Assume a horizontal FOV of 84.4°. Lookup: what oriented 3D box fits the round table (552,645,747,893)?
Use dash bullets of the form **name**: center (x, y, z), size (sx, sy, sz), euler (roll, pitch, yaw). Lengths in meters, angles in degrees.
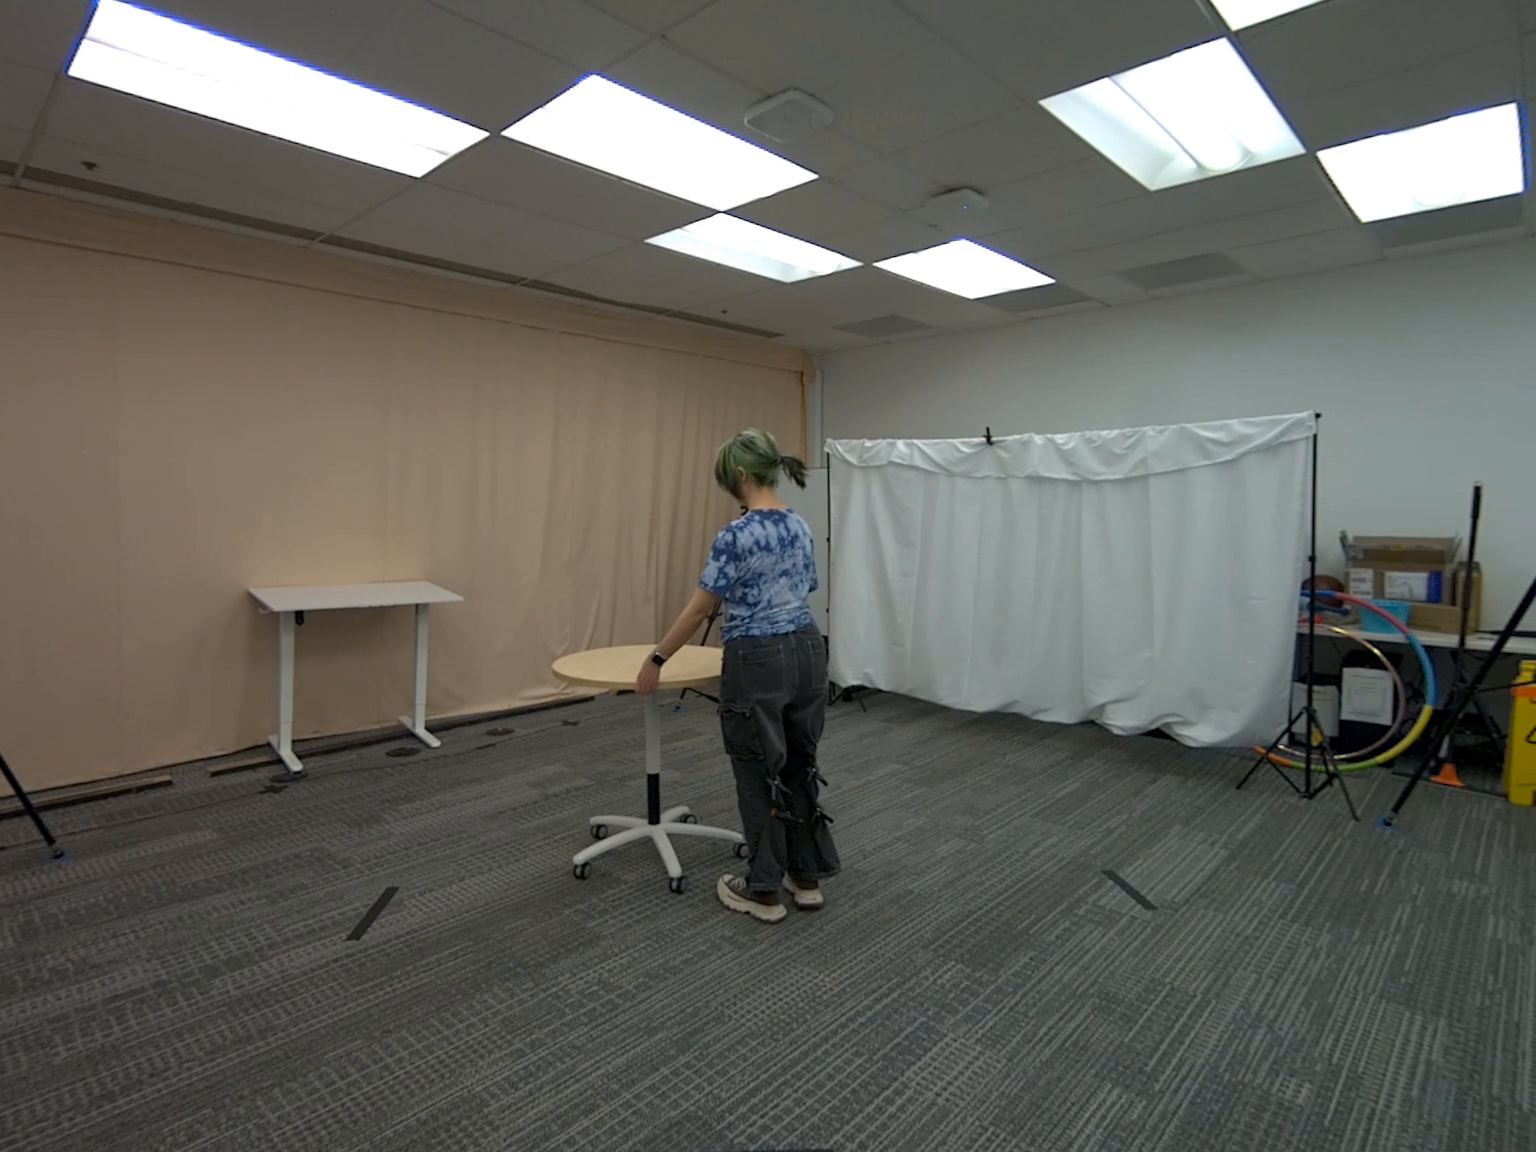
- **round table**: center (-0.450, 0.729, 3.318), size (0.763, 0.792, 0.766), euler (-1, 4, -2)
